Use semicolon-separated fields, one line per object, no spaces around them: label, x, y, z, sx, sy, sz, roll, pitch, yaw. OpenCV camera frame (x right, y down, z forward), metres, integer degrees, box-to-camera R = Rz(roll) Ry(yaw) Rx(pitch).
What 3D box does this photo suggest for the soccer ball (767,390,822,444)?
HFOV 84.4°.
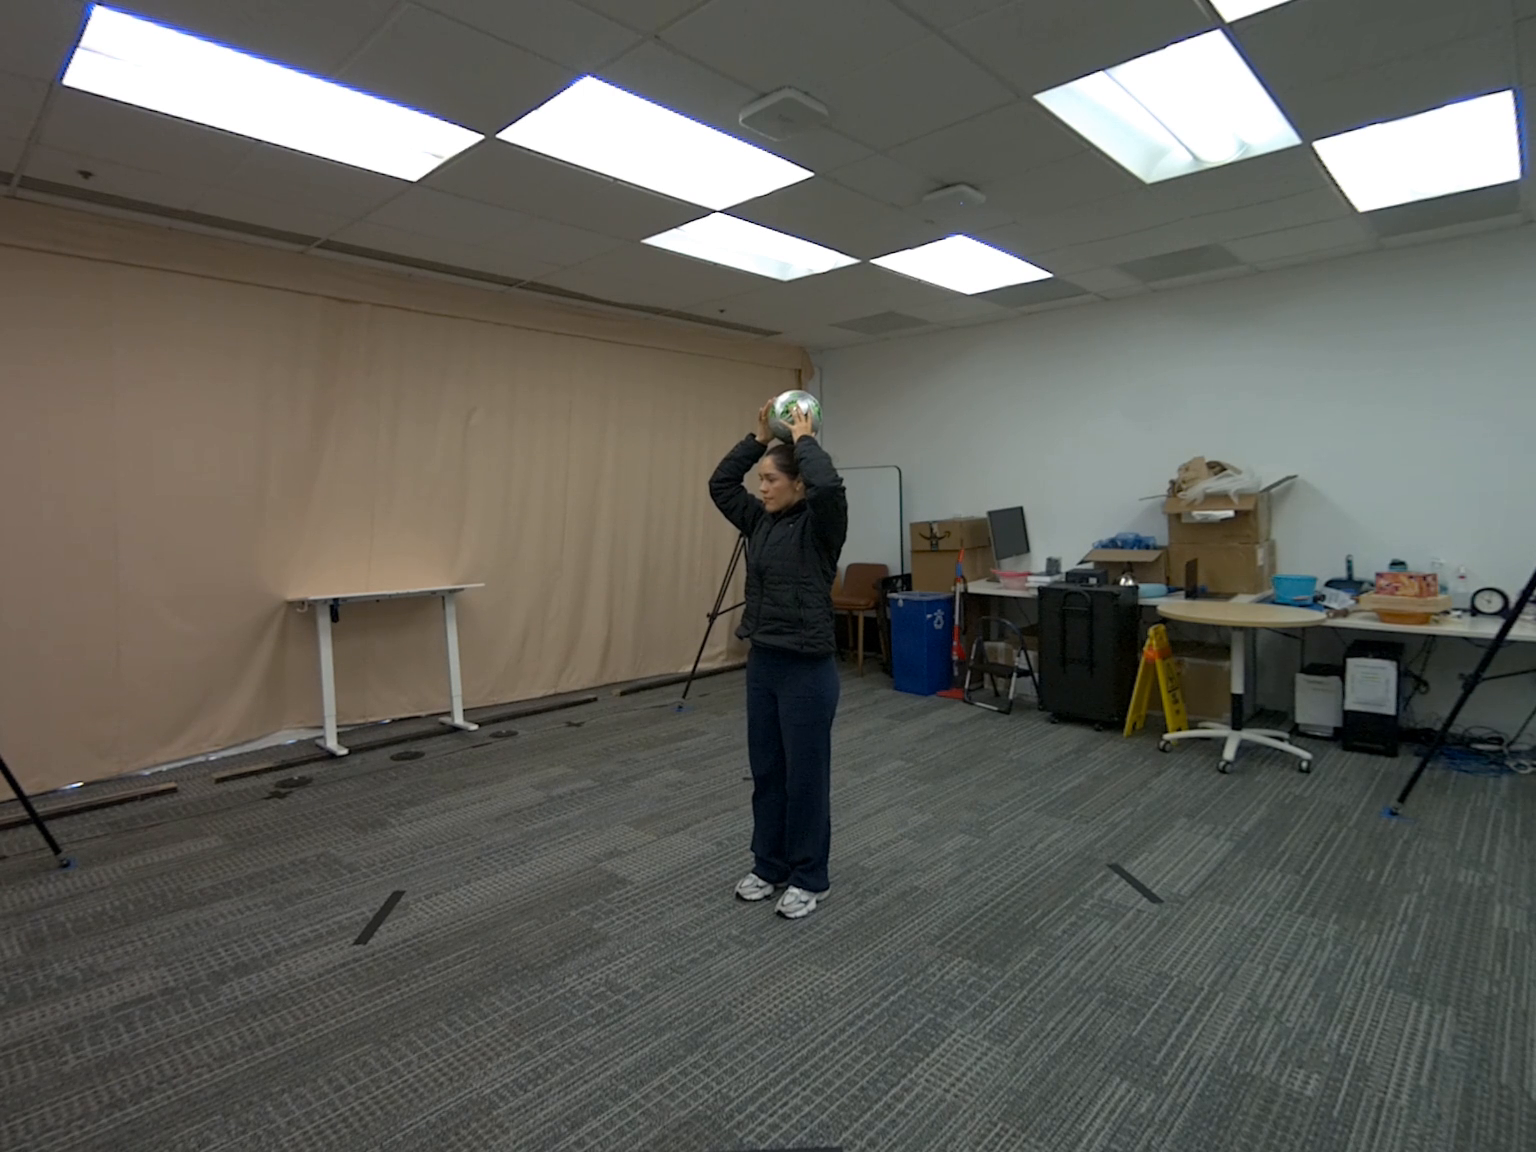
soccer ball;0.095;-0.544;2.896;0.187;0.187;0.188;-1;4;-2
